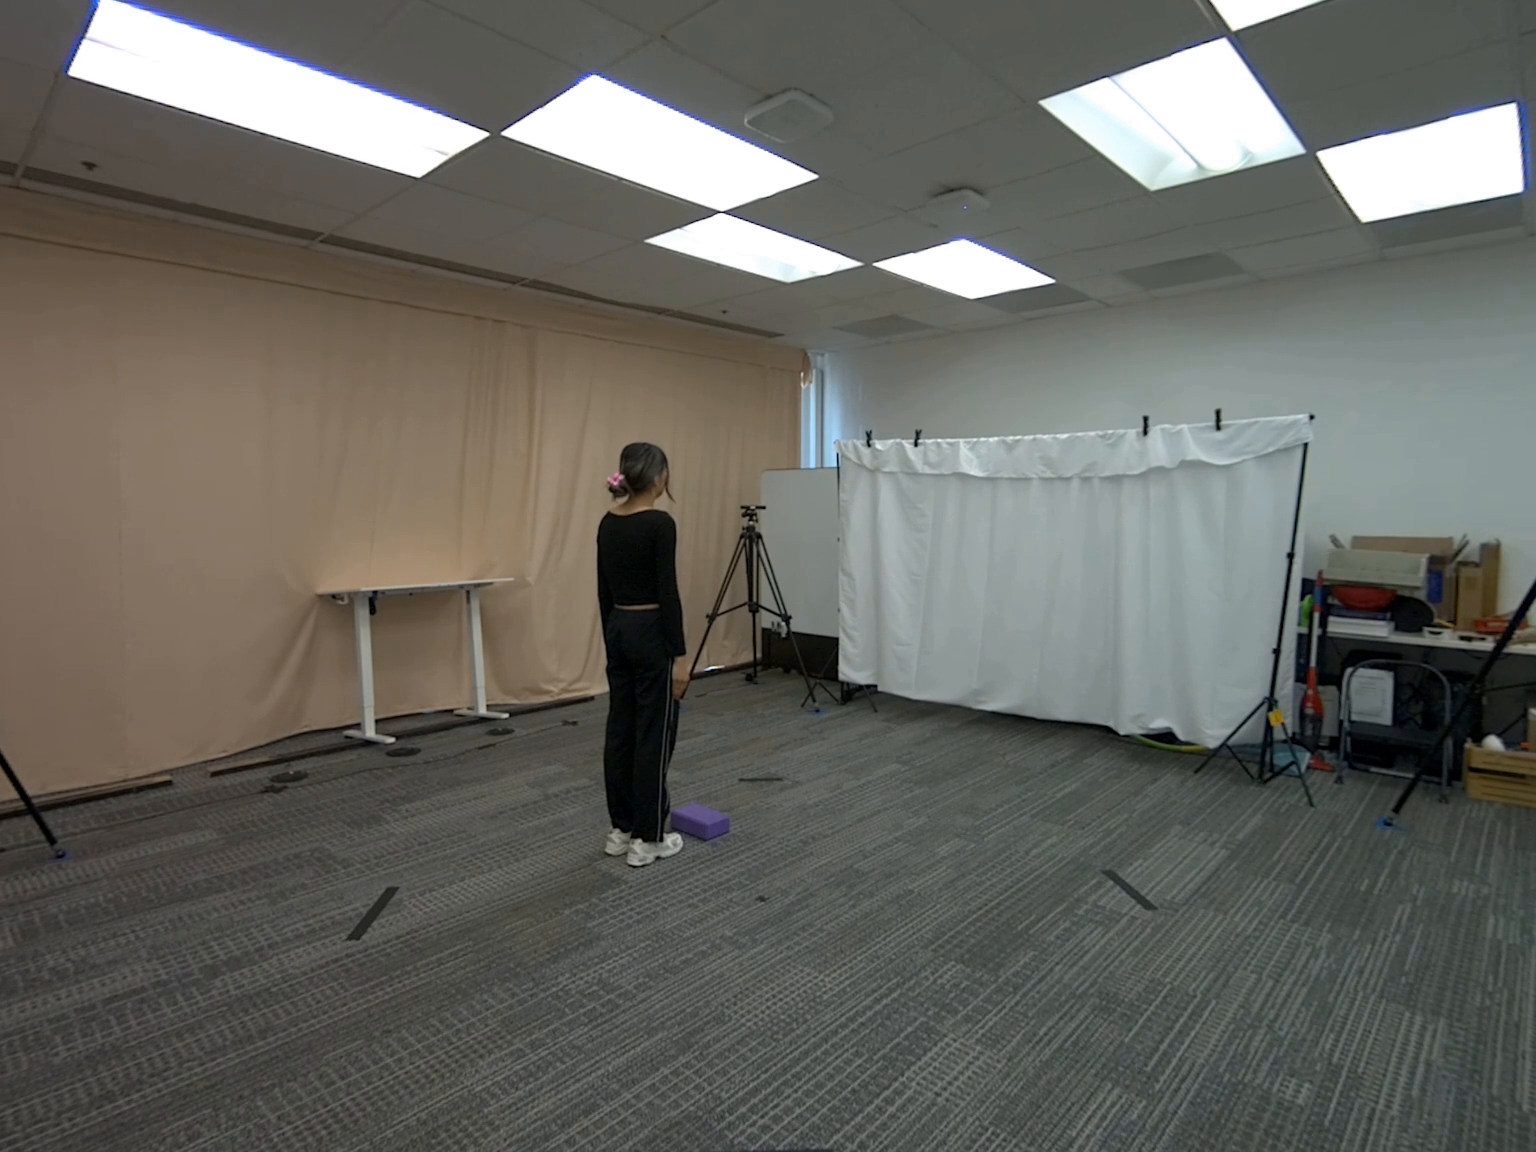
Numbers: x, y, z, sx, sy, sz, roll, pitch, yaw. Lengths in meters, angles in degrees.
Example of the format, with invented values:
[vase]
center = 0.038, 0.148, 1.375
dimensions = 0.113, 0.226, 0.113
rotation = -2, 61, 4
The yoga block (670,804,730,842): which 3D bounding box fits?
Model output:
[yoga block]
center = -0.297, 1.052, 3.618
dimensions = 0.237, 0.076, 0.144
rotation = 4, 5, 44
